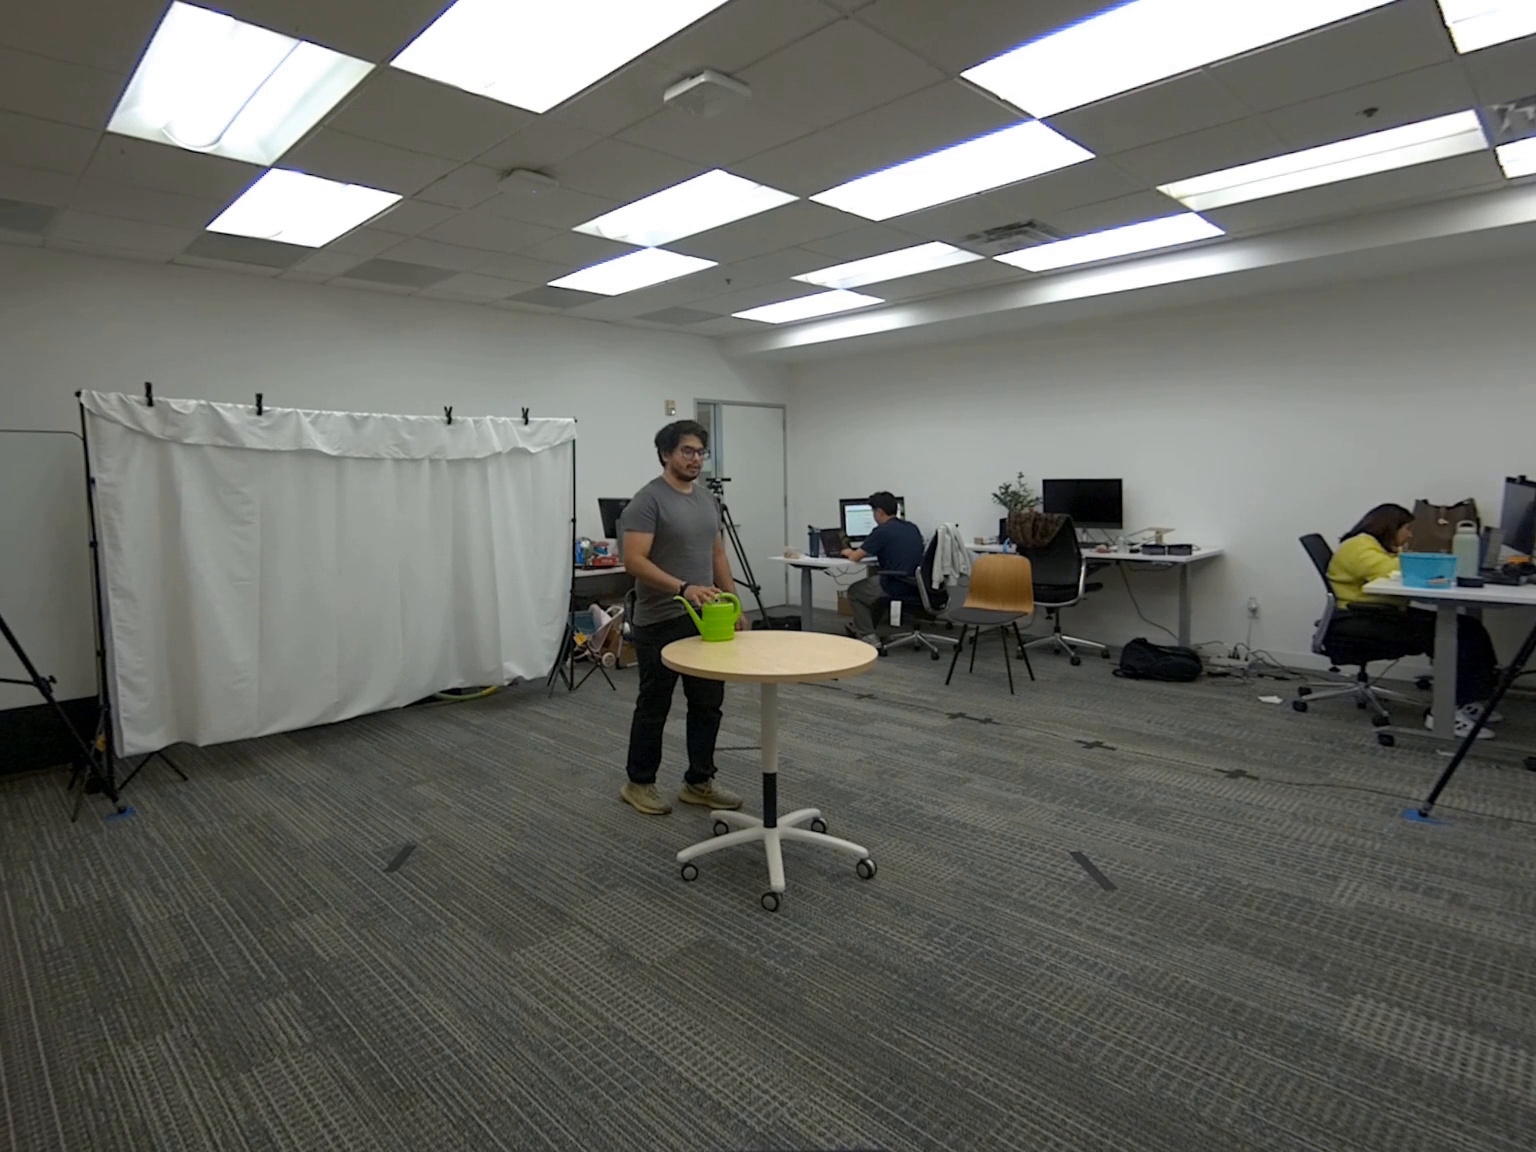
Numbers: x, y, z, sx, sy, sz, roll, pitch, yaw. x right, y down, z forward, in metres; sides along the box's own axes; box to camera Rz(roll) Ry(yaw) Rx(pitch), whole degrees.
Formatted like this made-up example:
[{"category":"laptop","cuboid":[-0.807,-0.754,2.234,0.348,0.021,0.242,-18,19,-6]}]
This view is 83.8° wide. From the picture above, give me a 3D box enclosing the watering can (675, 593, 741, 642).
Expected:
[{"category":"watering can","cuboid":[-0.234,0.160,3.242,0.274,0.176,0.100,1,4,-17]}]
